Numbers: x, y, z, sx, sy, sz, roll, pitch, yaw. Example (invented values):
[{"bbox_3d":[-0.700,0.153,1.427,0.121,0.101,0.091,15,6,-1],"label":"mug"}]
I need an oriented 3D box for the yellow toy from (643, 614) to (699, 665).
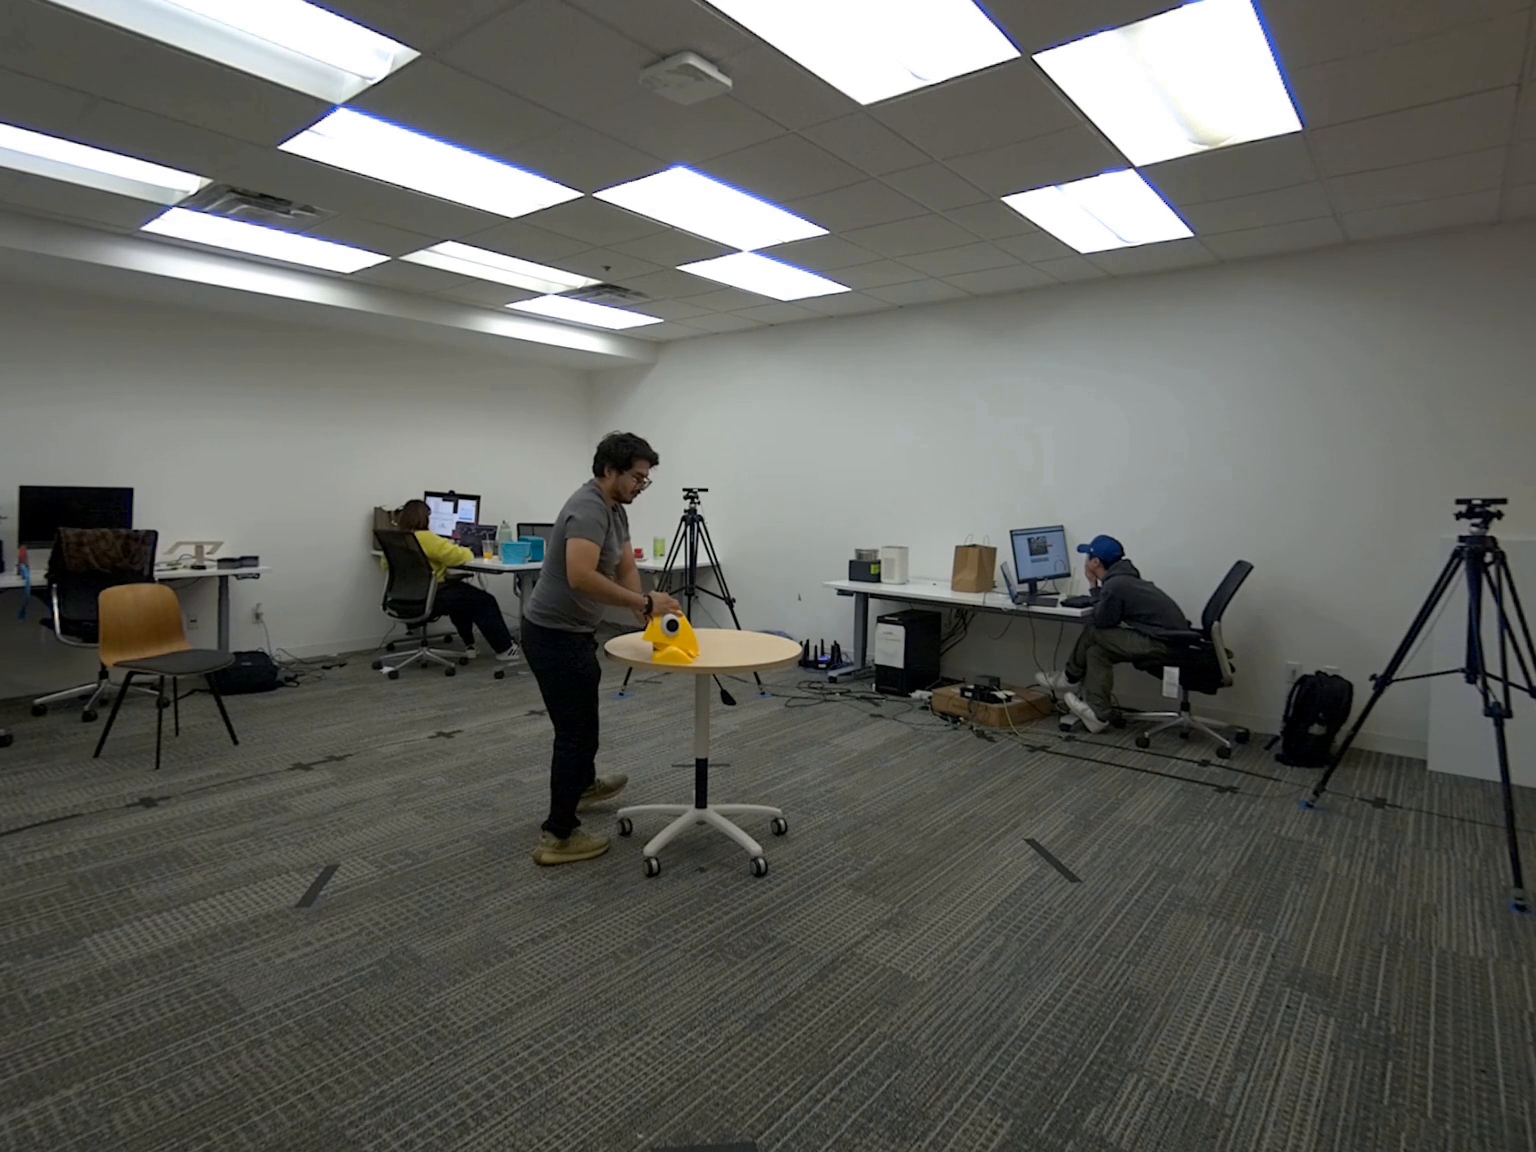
[{"bbox_3d":[-0.354,0.180,3.062,0.195,0.230,0.204,0,5,8],"label":"yellow toy"}]
